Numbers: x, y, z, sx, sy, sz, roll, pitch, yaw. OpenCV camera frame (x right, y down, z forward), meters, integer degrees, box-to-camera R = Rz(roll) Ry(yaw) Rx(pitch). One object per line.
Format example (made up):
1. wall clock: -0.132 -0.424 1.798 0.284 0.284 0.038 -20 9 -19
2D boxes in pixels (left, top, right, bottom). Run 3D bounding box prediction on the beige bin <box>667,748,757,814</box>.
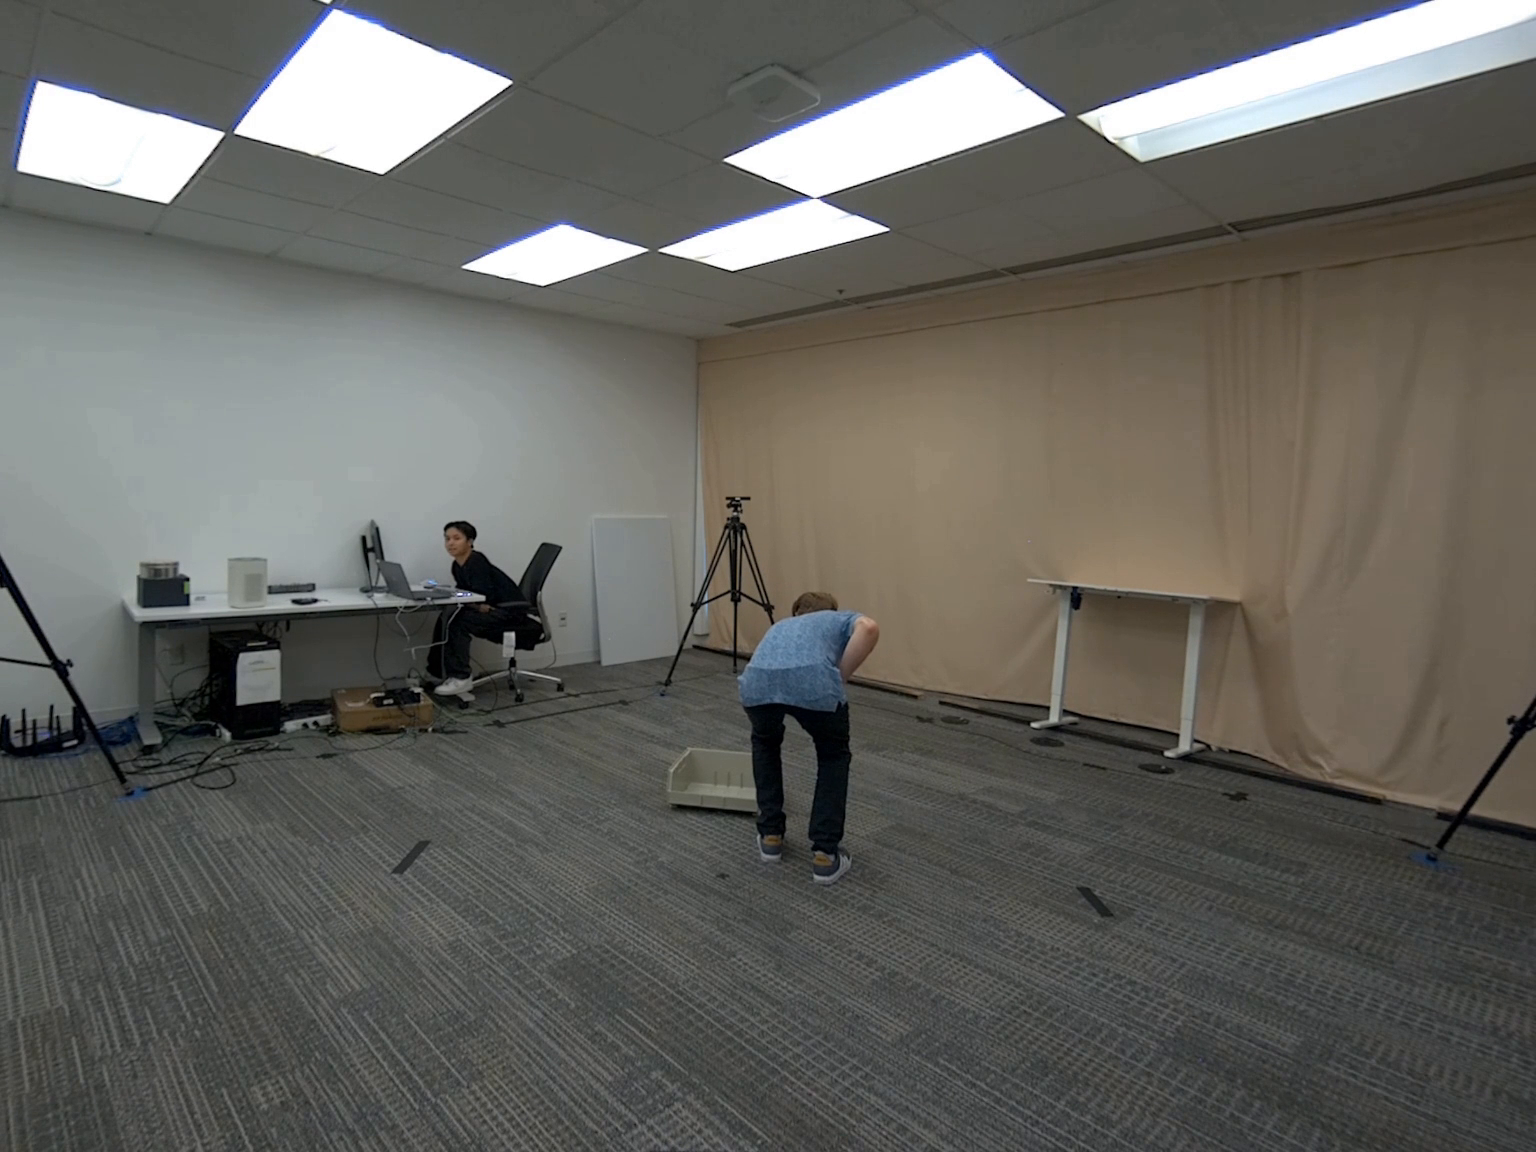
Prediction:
1. beige bin: -0.222 0.948 3.878 0.426 0.188 0.375 2 4 10
